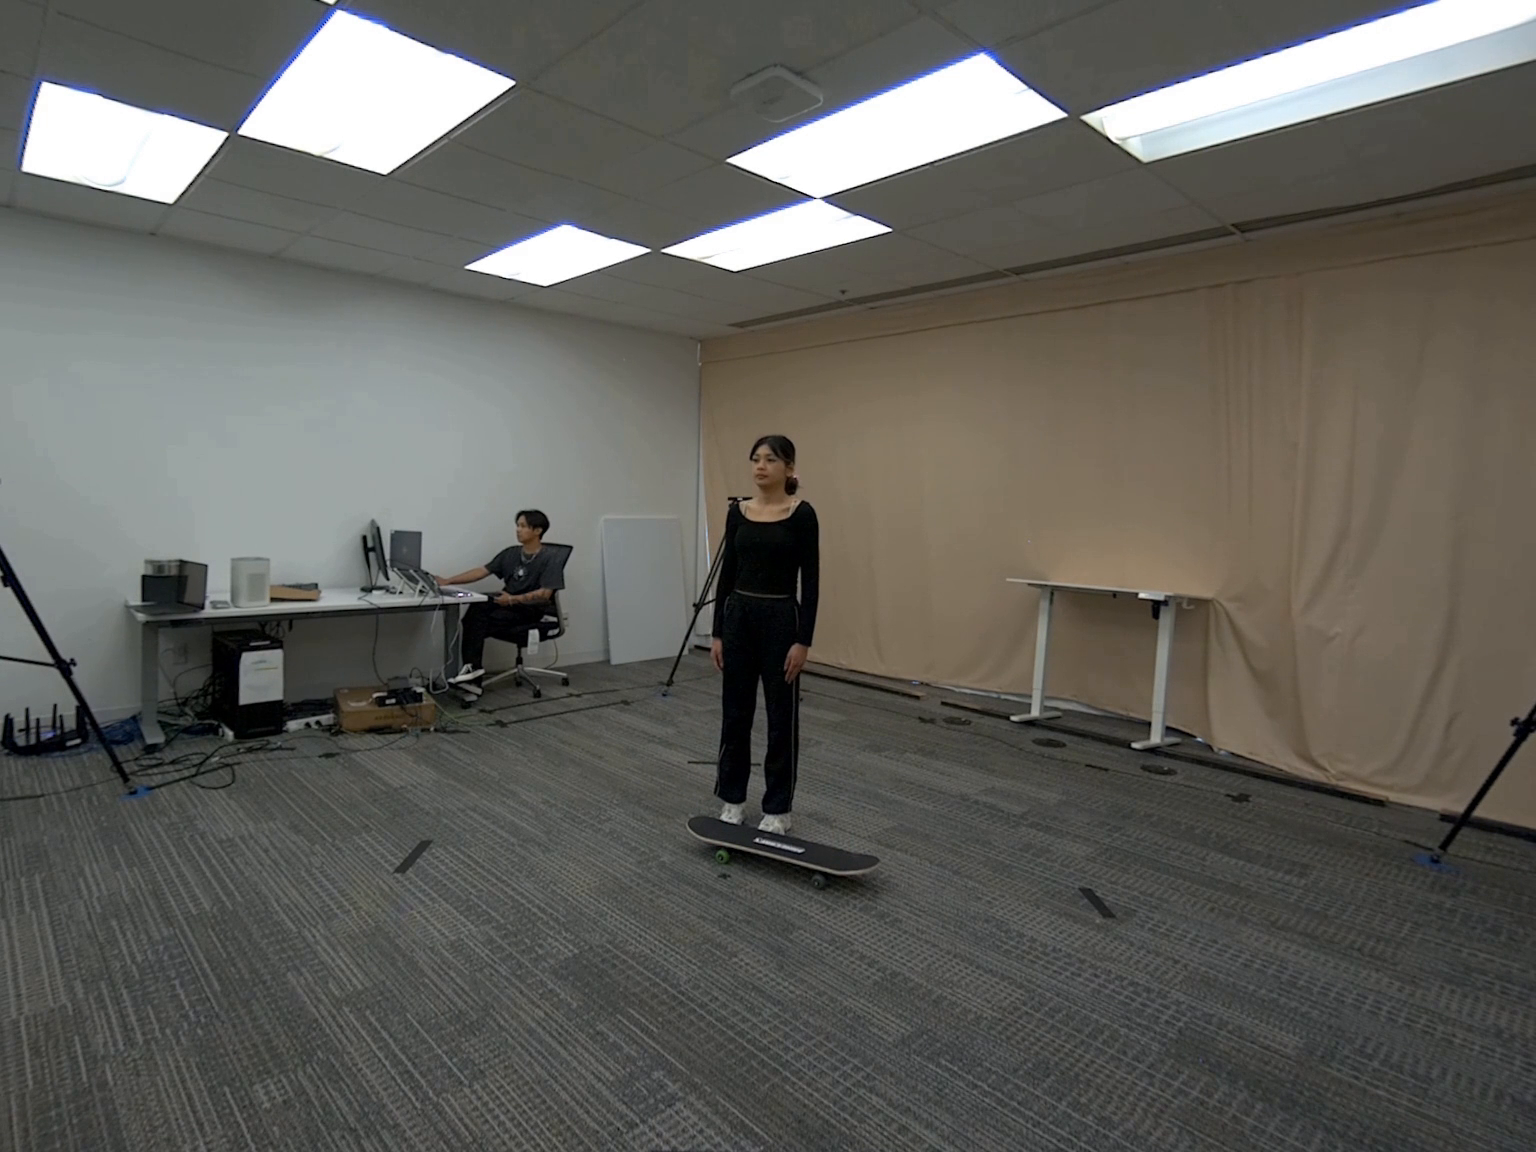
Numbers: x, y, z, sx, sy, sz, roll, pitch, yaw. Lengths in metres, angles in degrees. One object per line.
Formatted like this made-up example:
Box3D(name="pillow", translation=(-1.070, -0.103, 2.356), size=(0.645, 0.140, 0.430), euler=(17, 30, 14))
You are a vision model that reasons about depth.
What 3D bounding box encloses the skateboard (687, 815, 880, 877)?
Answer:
Box3D(name="skateboard", translation=(0.030, 1.048, 3.179), size=(0.802, 0.110, 0.190), euler=(4, 5, 28))
